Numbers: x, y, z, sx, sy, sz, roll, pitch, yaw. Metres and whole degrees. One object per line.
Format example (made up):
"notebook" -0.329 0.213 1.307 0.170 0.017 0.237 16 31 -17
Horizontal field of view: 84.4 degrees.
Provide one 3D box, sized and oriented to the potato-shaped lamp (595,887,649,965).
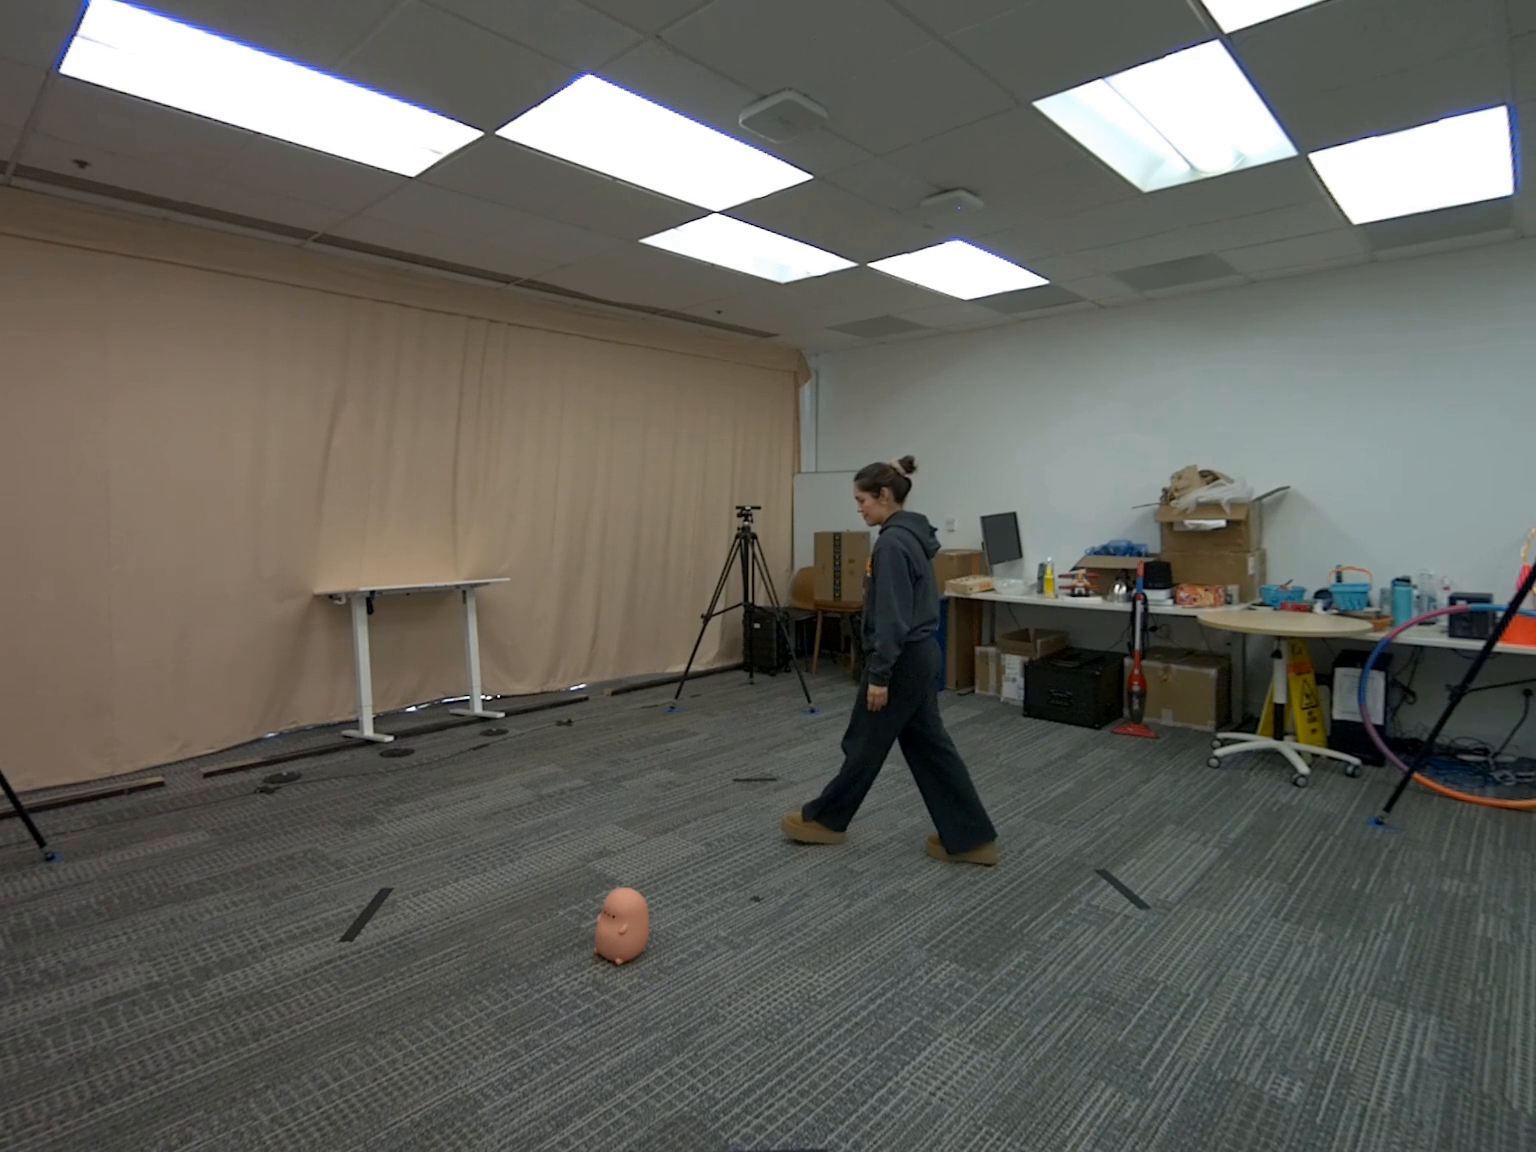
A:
"potato-shaped lamp" -0.435 1.083 2.624 0.170 0.198 0.166 -1 4 44
